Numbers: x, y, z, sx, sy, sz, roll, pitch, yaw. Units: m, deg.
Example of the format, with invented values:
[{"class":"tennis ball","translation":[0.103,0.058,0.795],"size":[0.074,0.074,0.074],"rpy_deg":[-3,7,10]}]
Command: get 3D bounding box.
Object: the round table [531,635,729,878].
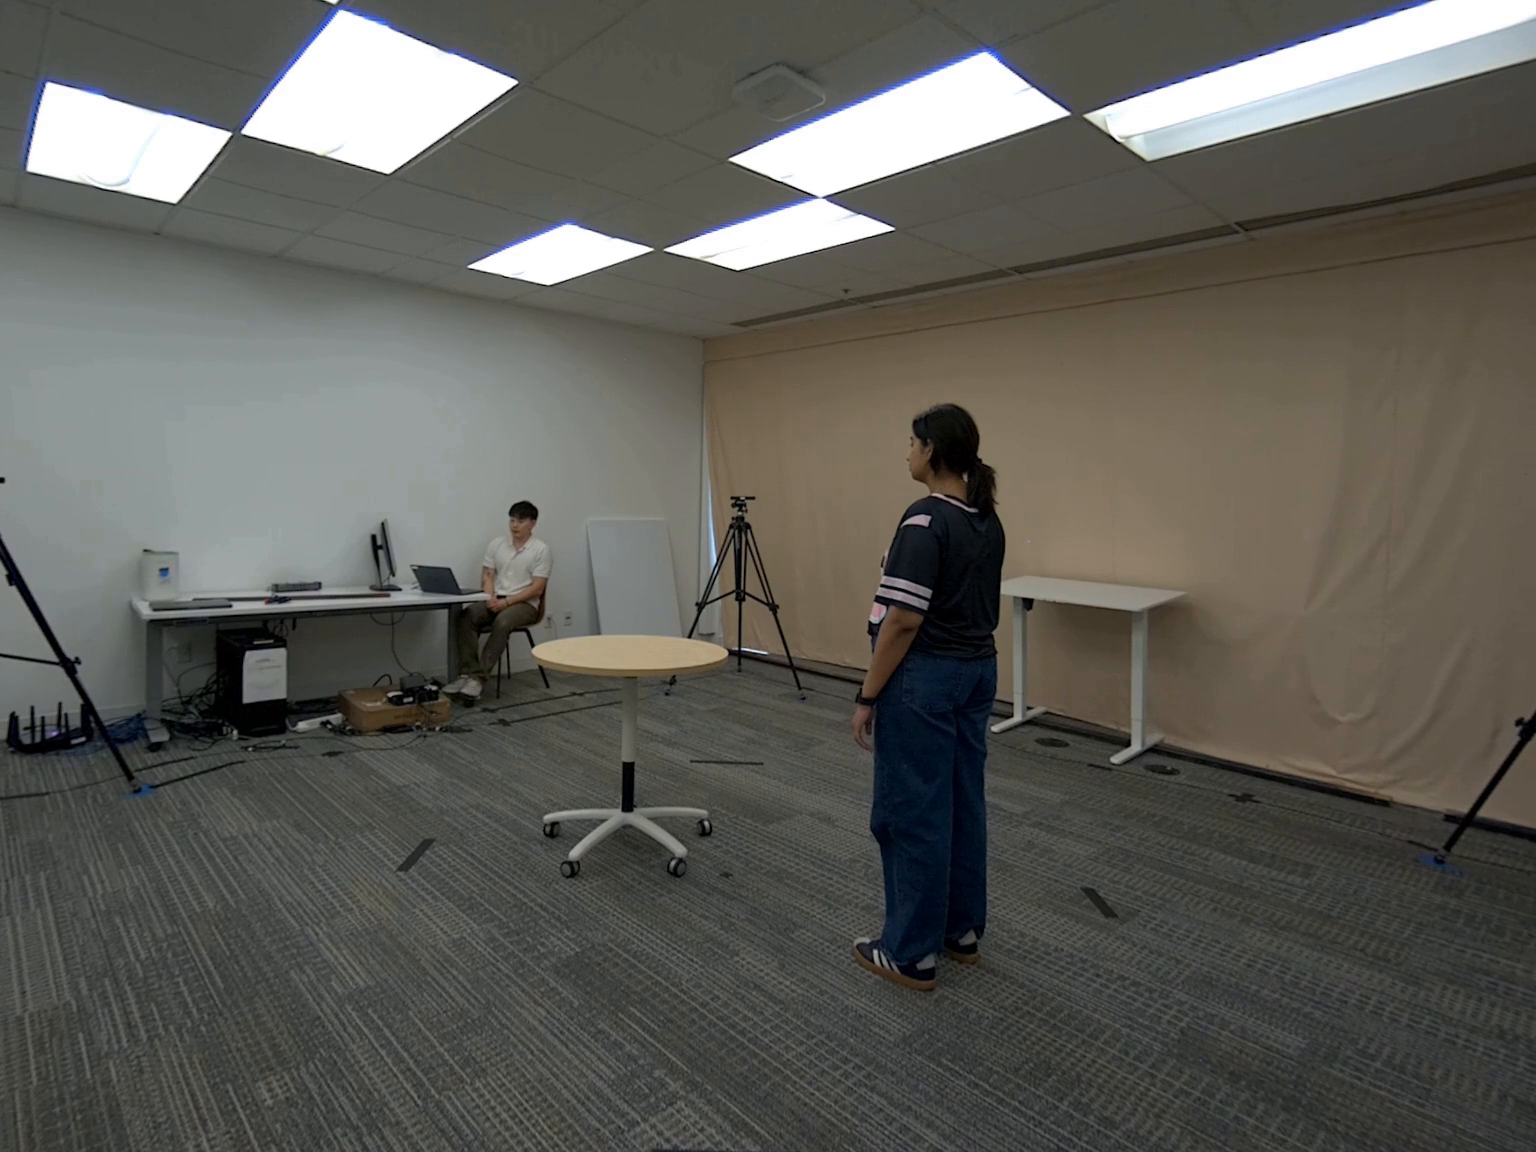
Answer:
[{"class":"round table","translation":[-0.550,0.683,3.316],"size":[0.784,0.785,0.787],"rpy_deg":[1,3,-1]}]
